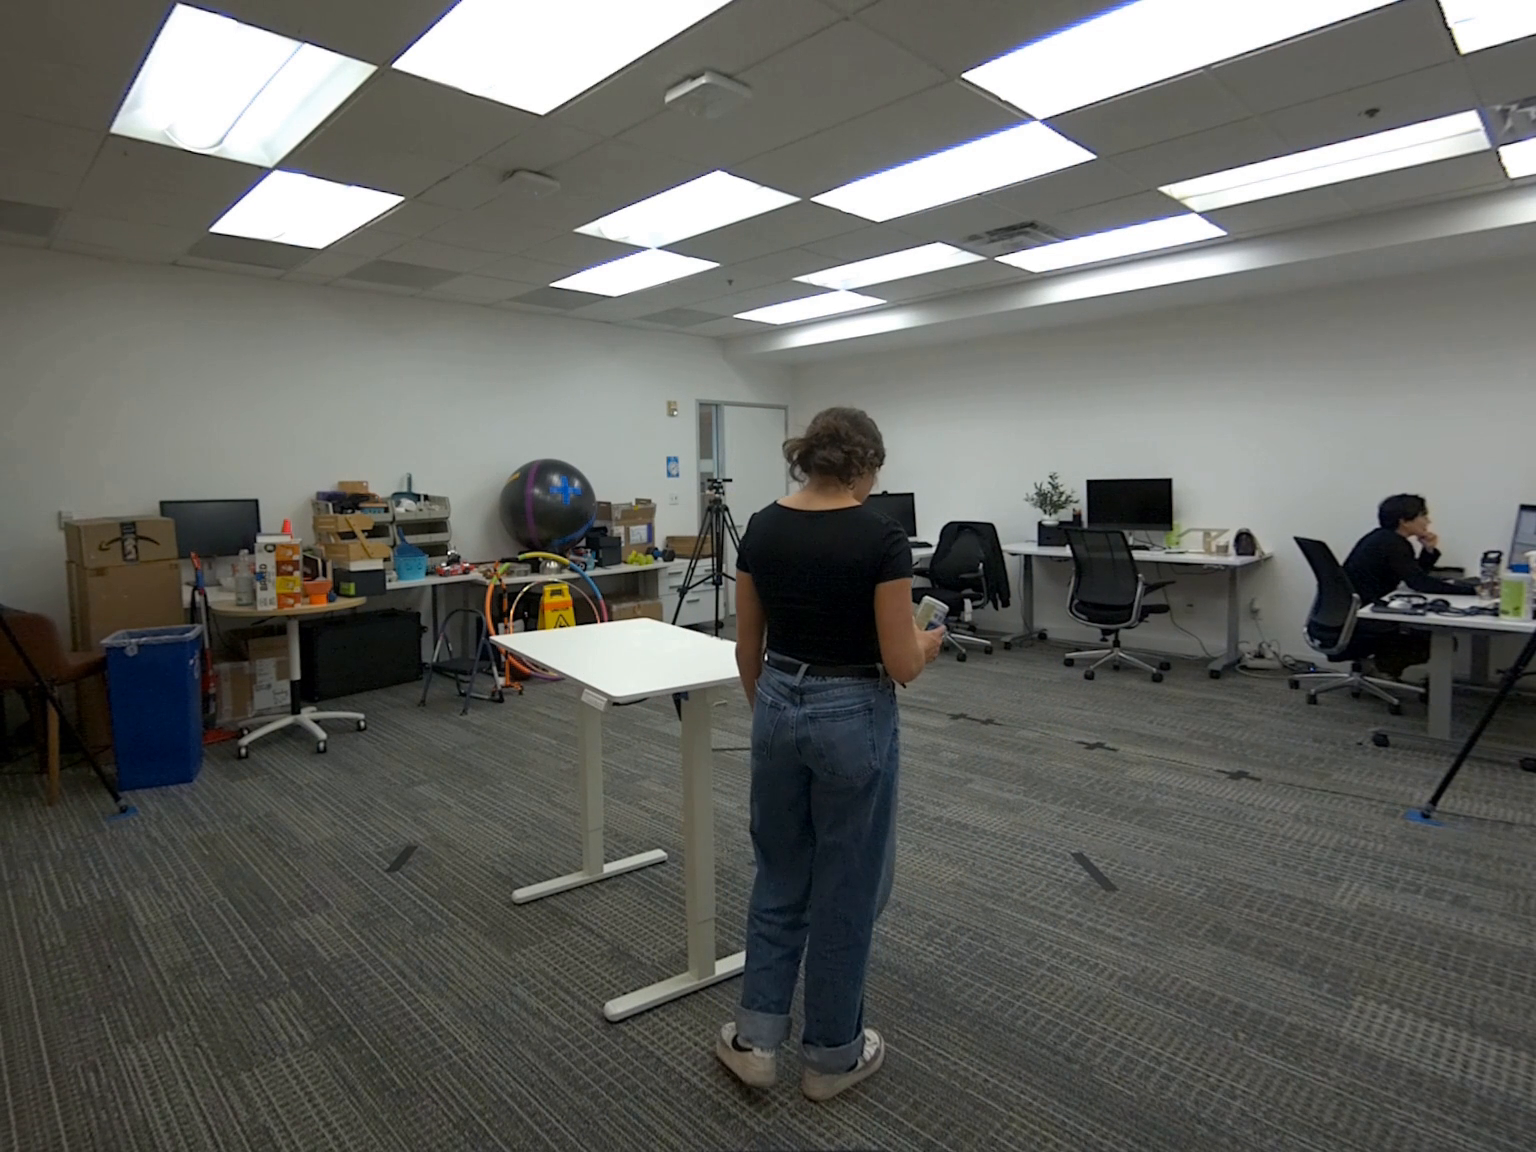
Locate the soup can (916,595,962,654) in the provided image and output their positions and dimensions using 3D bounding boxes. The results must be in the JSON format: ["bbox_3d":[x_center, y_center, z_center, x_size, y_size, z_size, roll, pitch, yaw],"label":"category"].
[{"bbox_3d":[0.402,0.114,2.073,0.067,0.122,0.067,25,-3,0],"label":"soup can"}]
